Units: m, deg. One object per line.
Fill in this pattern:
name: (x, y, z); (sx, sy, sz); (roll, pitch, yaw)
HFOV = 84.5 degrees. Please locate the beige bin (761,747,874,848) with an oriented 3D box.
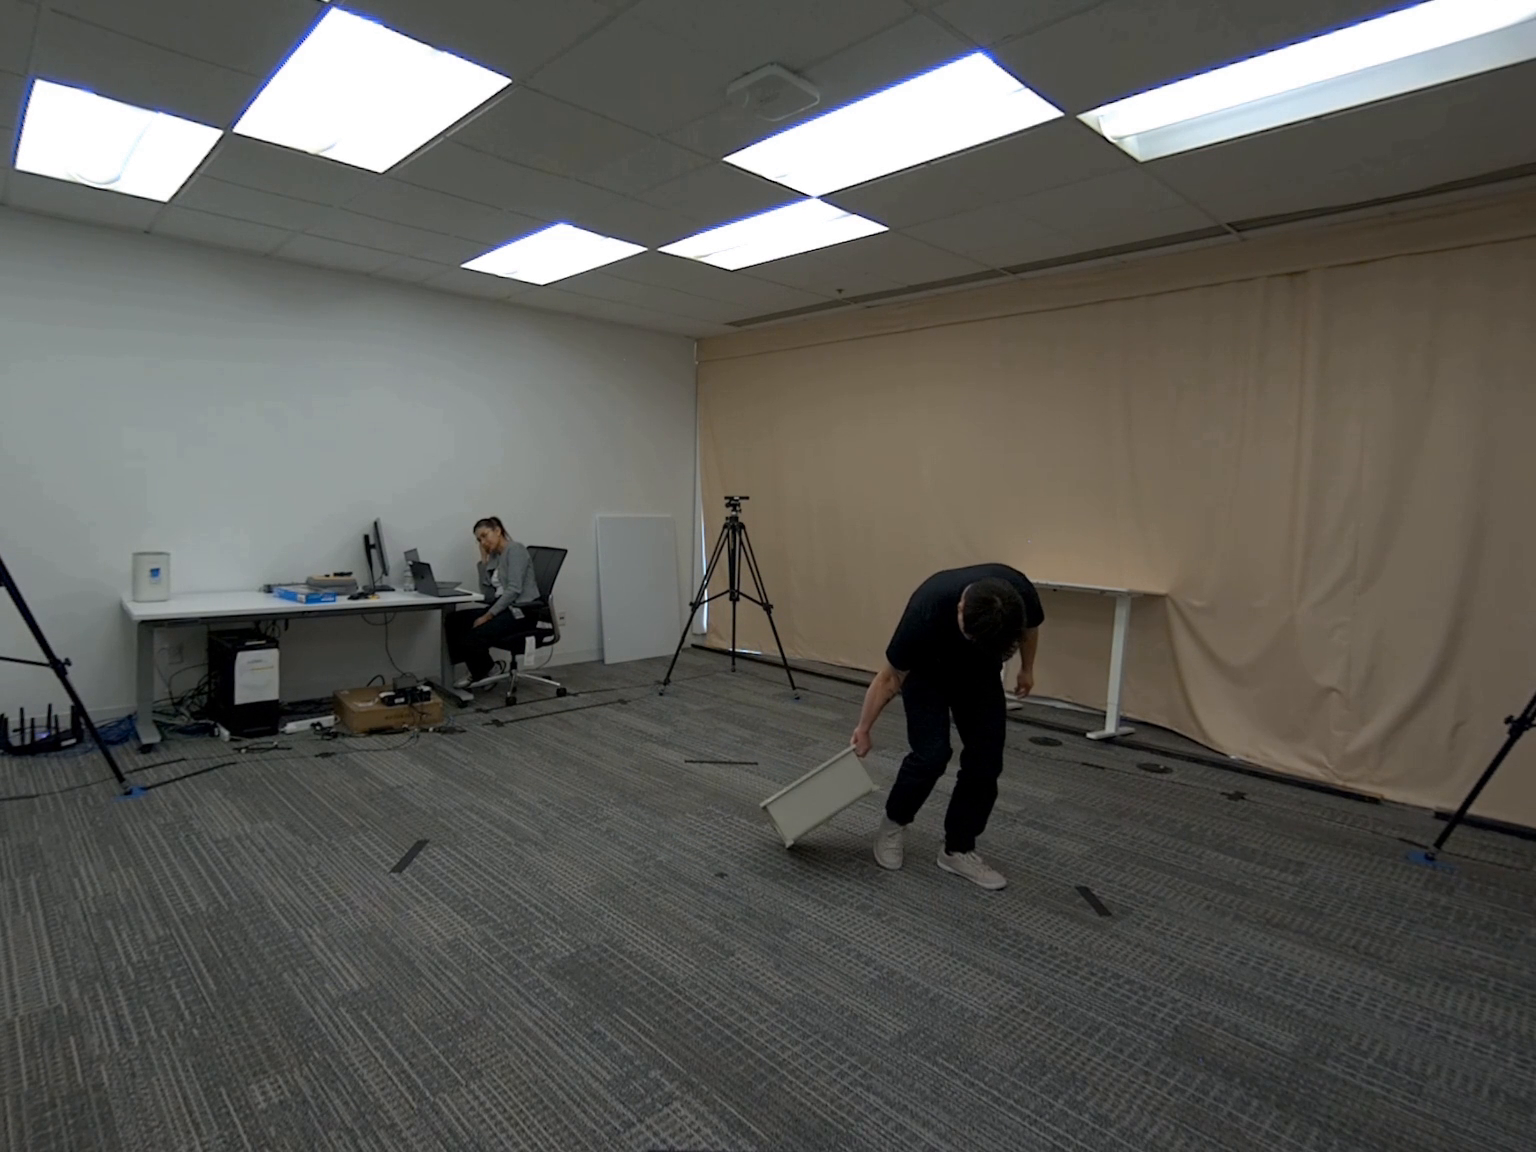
beige bin: (0.185, 0.862, 3.279); (0.421, 0.192, 0.373); (-30, -13, -8)
